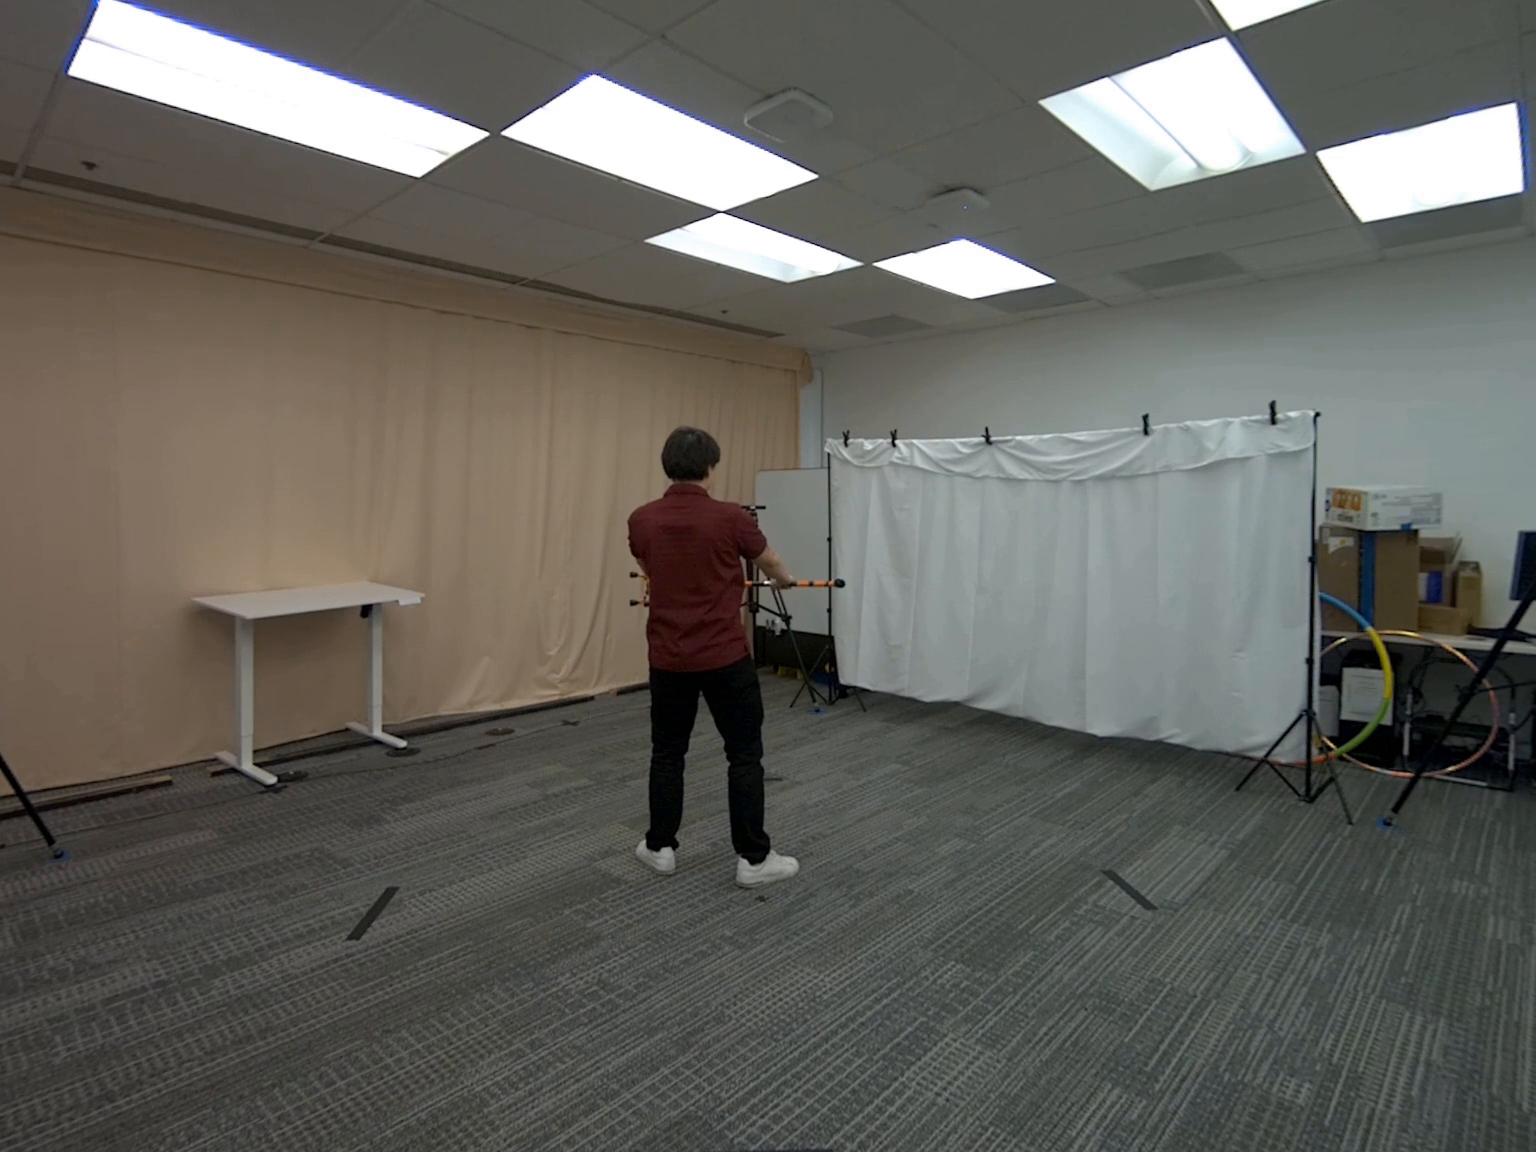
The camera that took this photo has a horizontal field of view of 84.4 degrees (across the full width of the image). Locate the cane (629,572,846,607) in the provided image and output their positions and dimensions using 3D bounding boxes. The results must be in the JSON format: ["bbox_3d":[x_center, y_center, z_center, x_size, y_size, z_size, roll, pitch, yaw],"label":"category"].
[{"bbox_3d":[-0.124,0.047,3.602,0.921,0.151,0.203,-1,0,14],"label":"cane"}]
